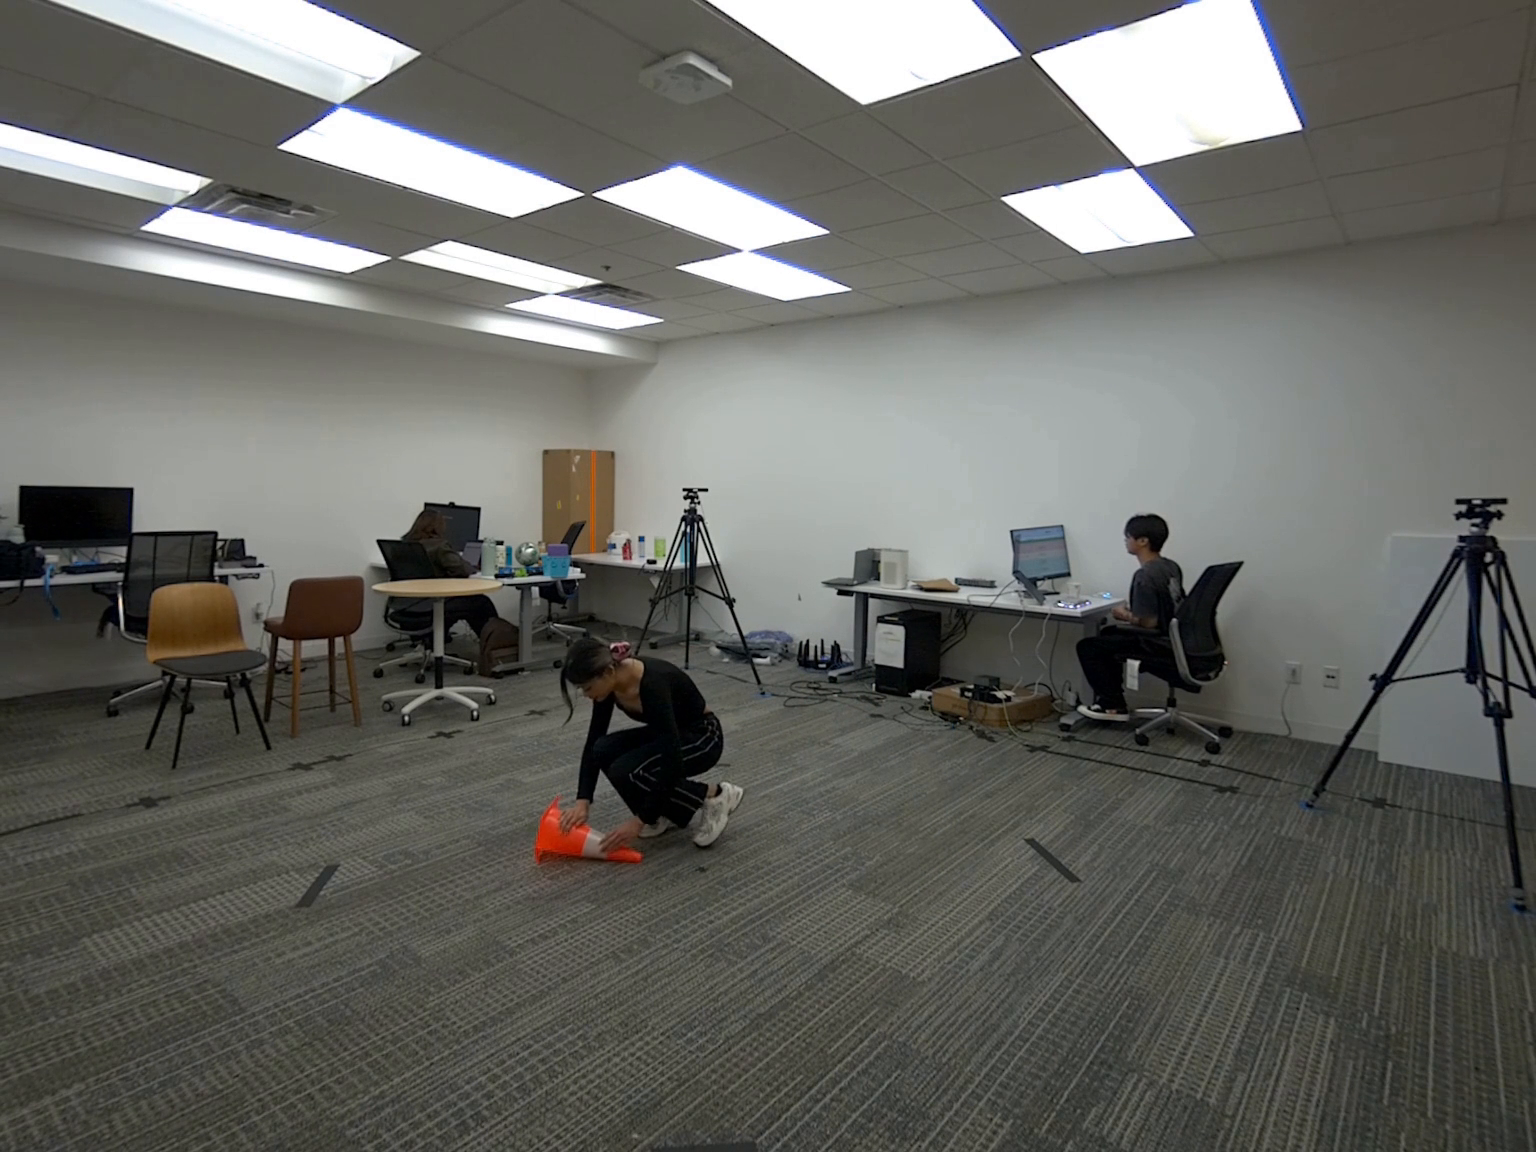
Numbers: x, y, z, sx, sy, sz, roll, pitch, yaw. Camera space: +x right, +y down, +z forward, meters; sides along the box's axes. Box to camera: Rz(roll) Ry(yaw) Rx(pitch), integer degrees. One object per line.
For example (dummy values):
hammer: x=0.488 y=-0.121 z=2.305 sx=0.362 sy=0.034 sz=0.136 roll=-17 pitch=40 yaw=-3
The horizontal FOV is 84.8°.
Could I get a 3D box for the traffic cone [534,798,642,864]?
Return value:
traffic cone: x=-0.664 y=0.996 z=3.188 sx=0.385 sy=0.202 sz=0.205 roll=11 pitch=17 yaw=3
